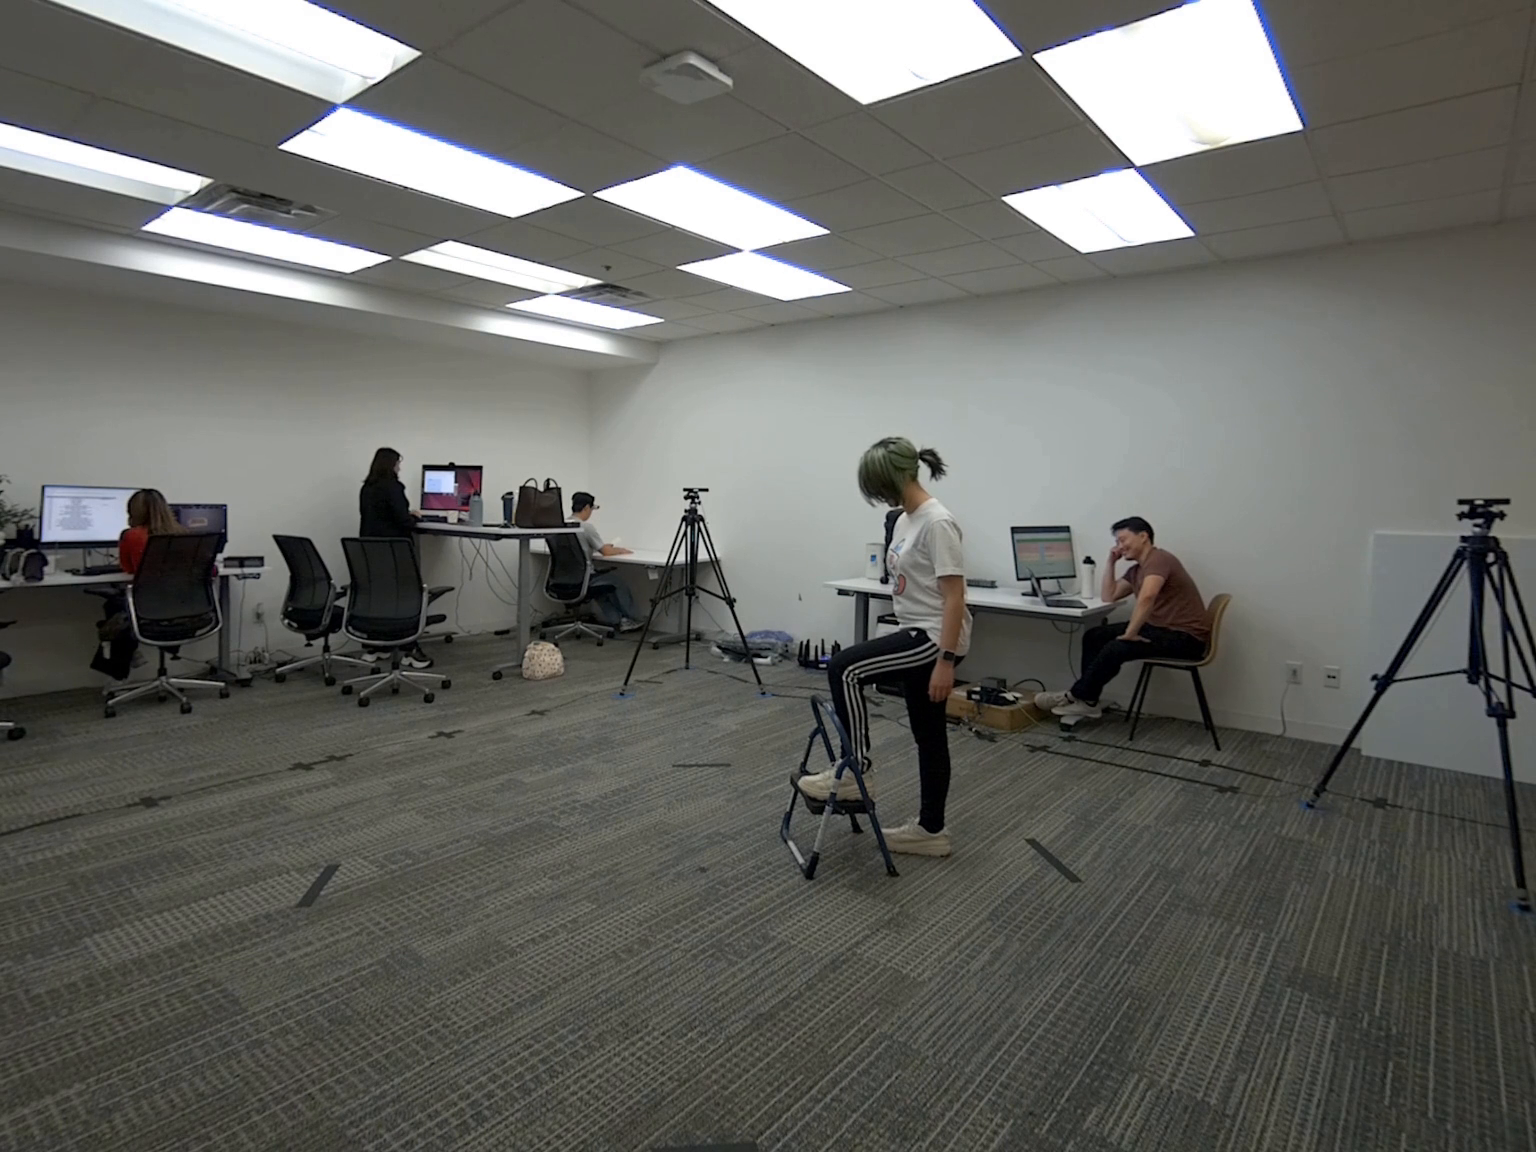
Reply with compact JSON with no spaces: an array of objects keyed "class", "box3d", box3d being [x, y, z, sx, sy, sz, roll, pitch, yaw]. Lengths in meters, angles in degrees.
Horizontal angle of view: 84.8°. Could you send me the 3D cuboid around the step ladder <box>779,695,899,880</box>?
[{"class":"step ladder","box3d":[0.259,0.770,3.258,0.345,0.604,0.437,1,3,-13]}]
